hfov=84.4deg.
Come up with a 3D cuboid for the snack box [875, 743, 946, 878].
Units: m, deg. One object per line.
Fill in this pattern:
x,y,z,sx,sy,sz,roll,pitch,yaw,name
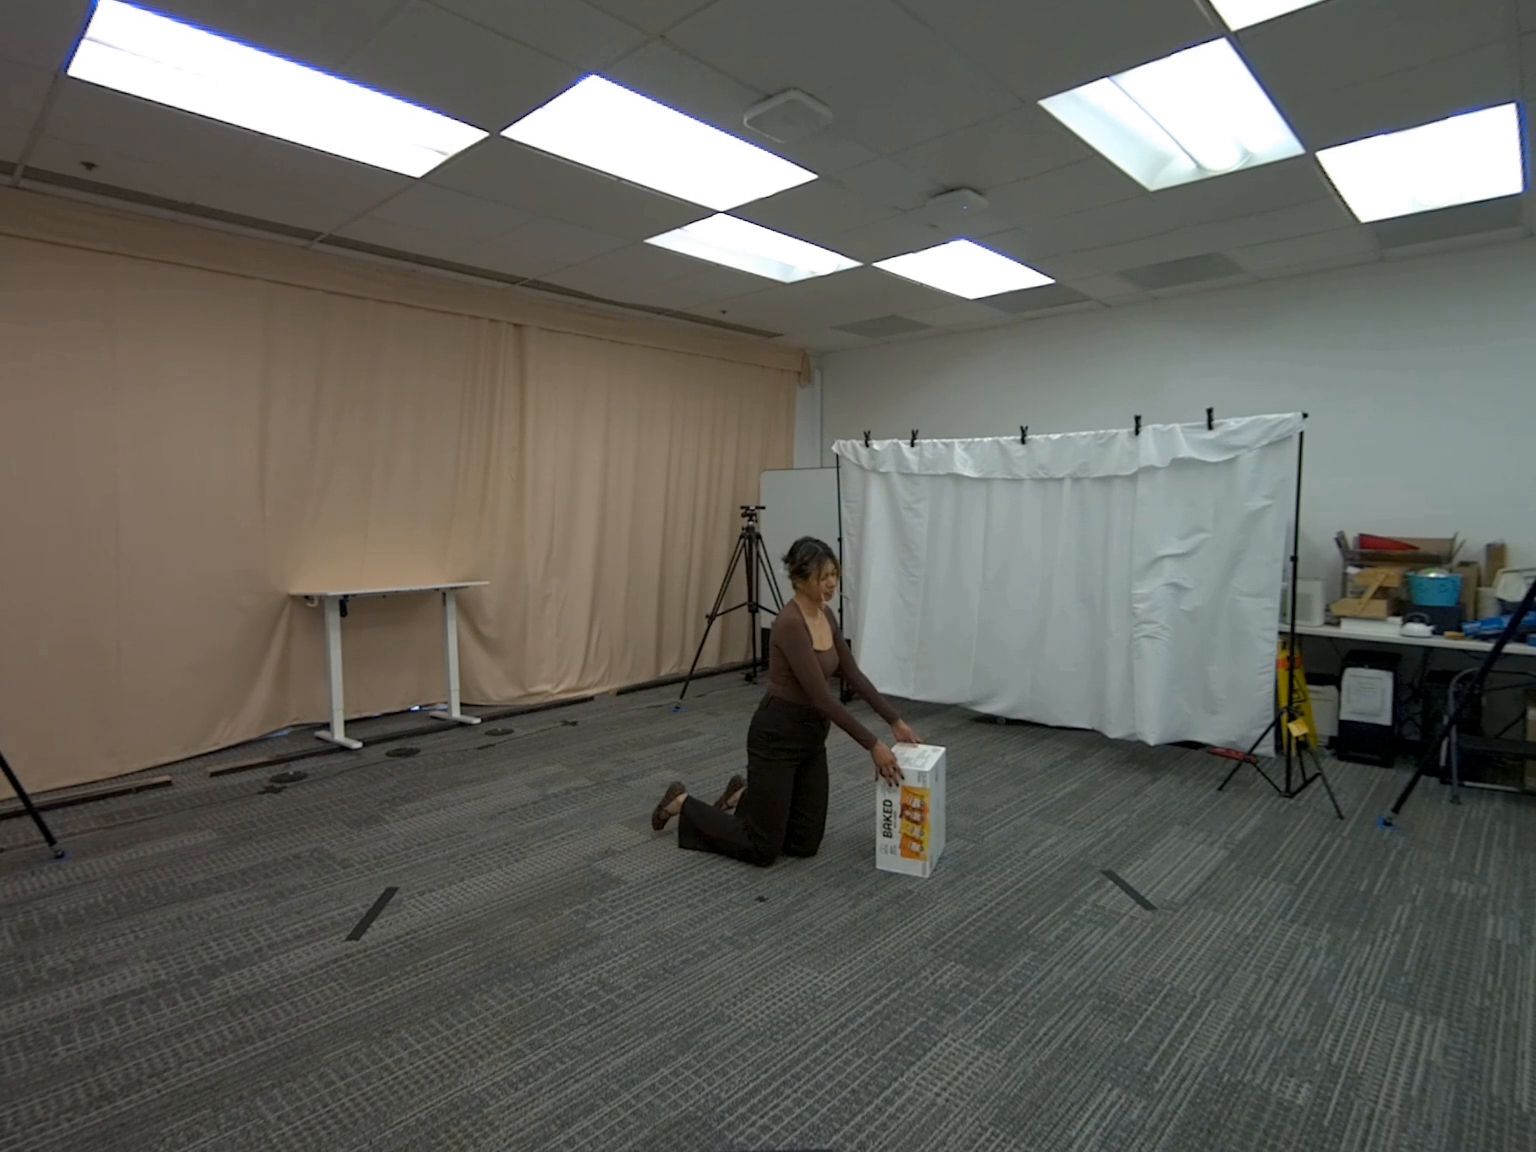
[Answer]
0.570,0.908,3.330,0.211,0.404,0.333,1,4,23,snack box
